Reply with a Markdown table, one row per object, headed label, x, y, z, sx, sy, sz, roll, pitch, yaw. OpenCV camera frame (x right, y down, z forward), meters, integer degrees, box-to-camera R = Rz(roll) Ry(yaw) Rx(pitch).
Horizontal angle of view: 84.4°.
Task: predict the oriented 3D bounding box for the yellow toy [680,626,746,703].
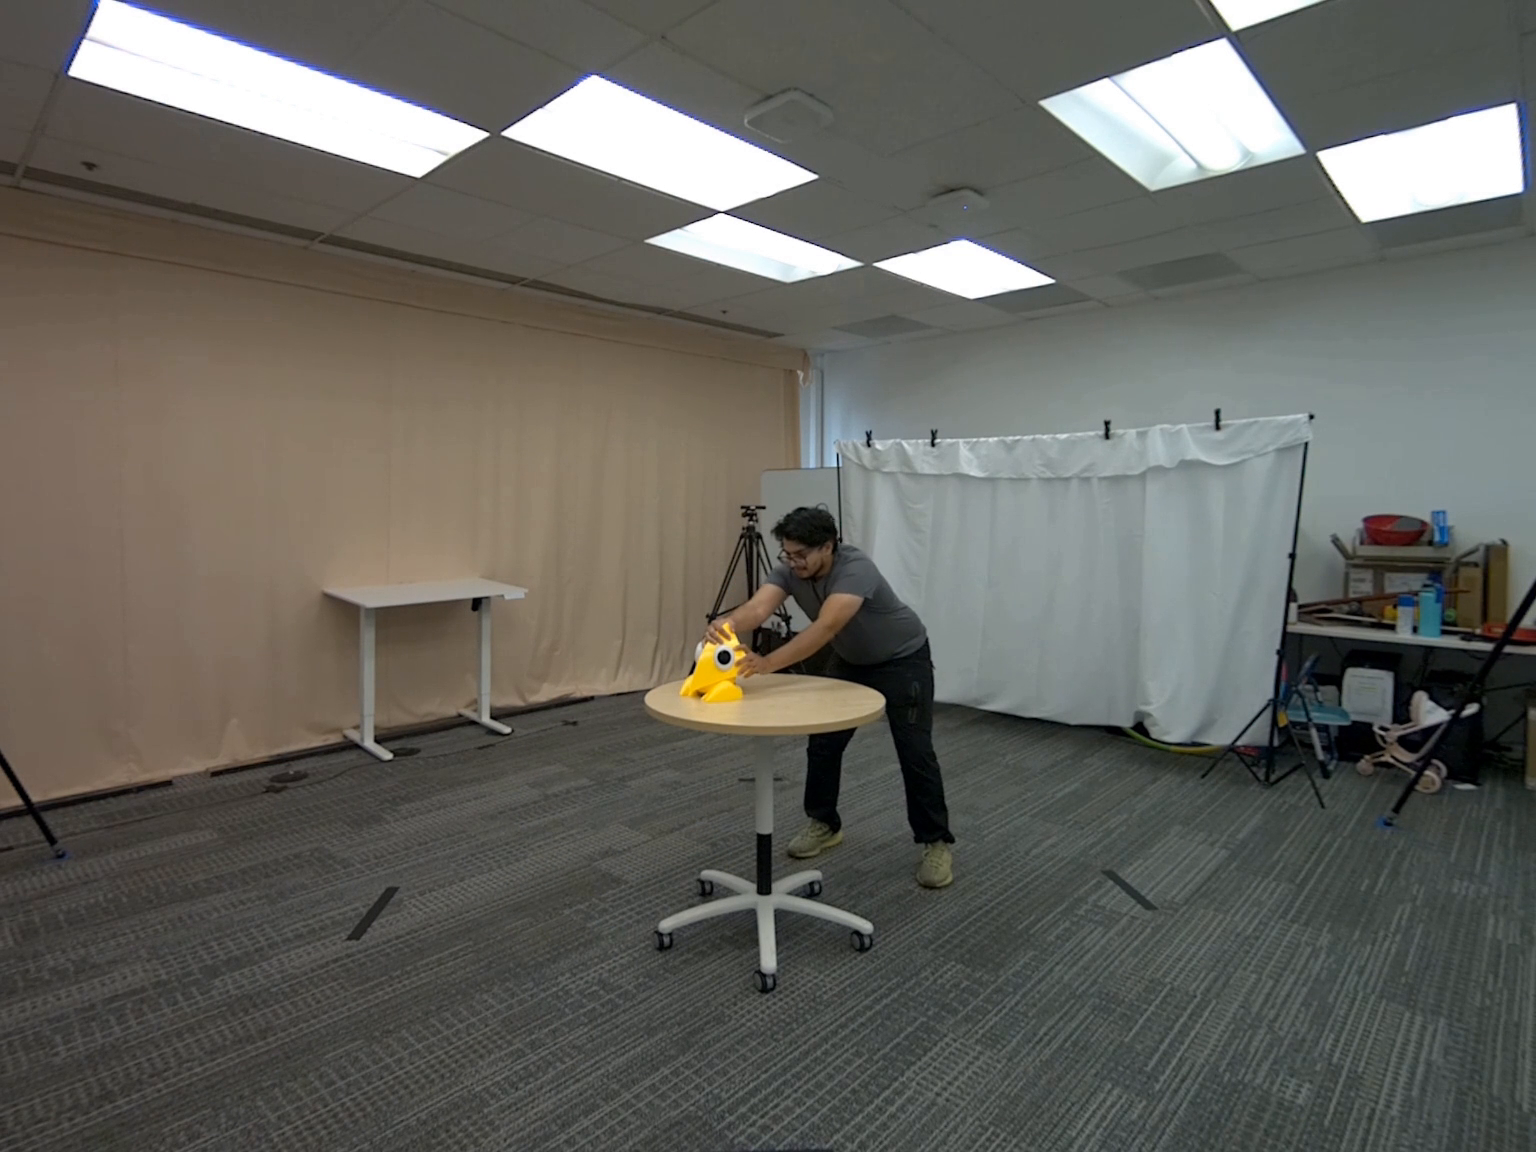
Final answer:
| label | x | y | z | sx | sy | sz | roll | pitch | yaw |
| --- | --- | --- | --- | --- | --- | --- | --- | --- | --- |
| yellow toy | -0.172 | 0.274 | 2.714 | 0.187 | 0.230 | 0.211 | -4 | 5 | -44 |
